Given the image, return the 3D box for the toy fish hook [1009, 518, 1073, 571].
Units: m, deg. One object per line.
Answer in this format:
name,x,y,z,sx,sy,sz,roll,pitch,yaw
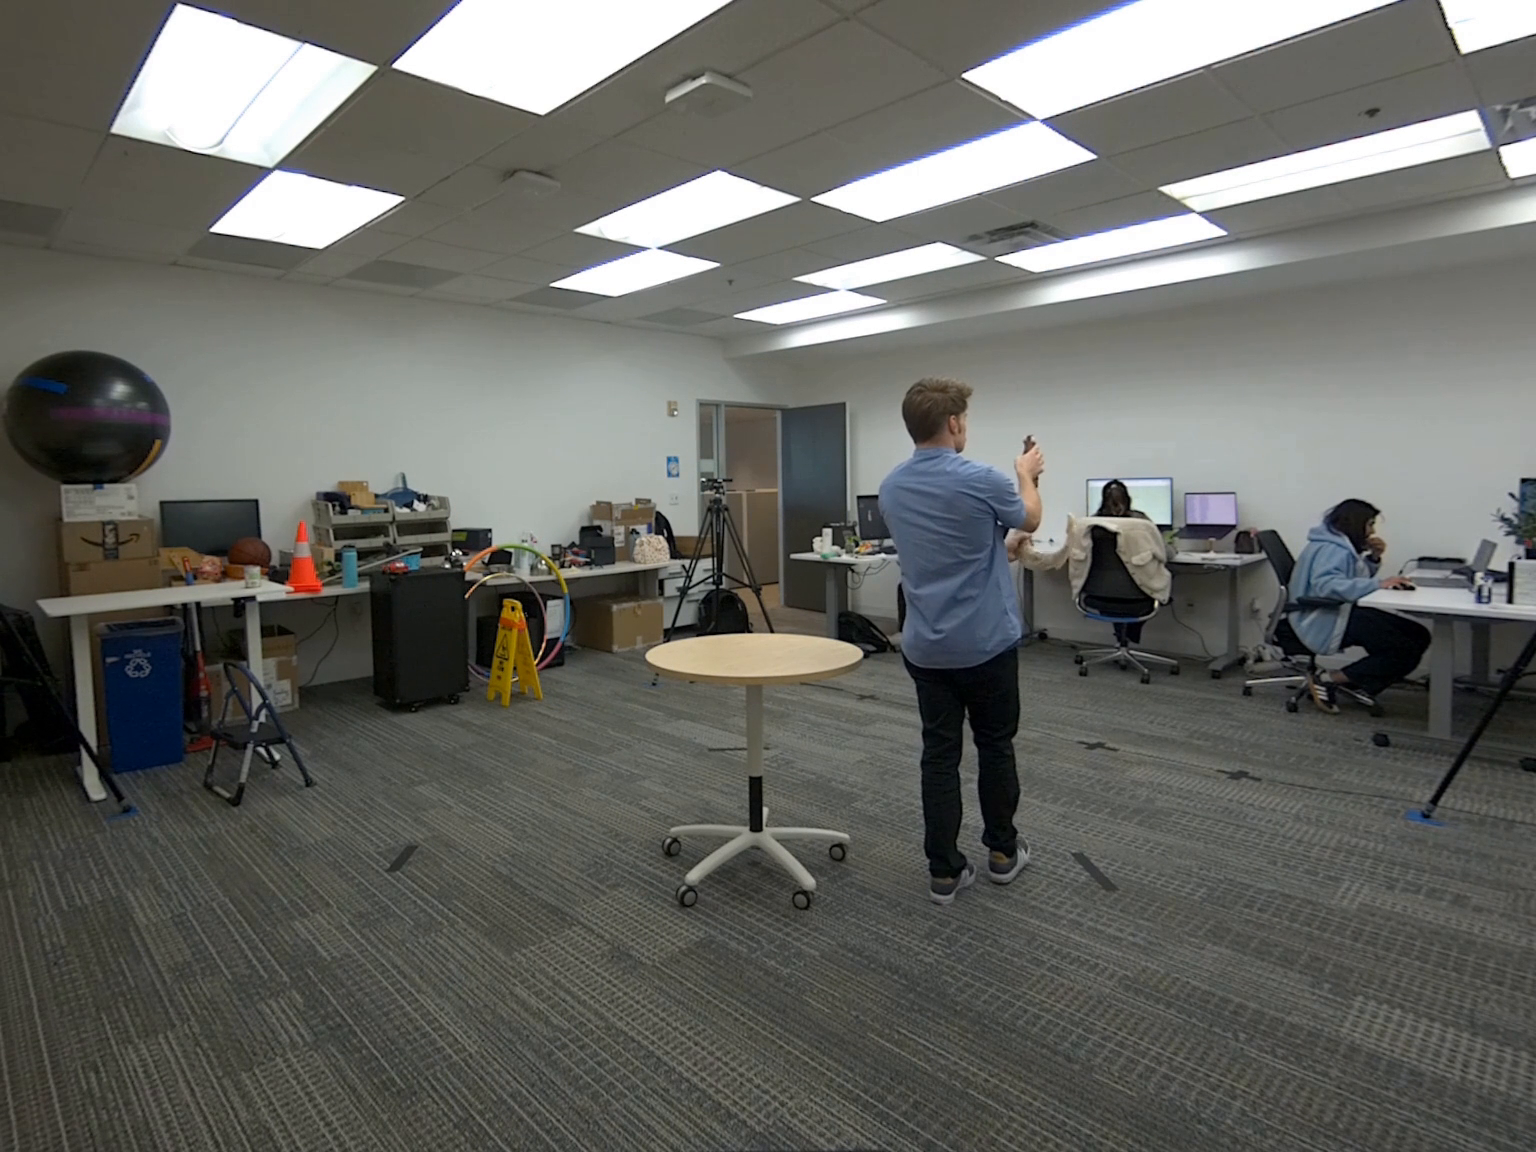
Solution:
toy fish hook,1.000,-0.269,3.037,0.230,0.512,0.046,-5,-15,33
